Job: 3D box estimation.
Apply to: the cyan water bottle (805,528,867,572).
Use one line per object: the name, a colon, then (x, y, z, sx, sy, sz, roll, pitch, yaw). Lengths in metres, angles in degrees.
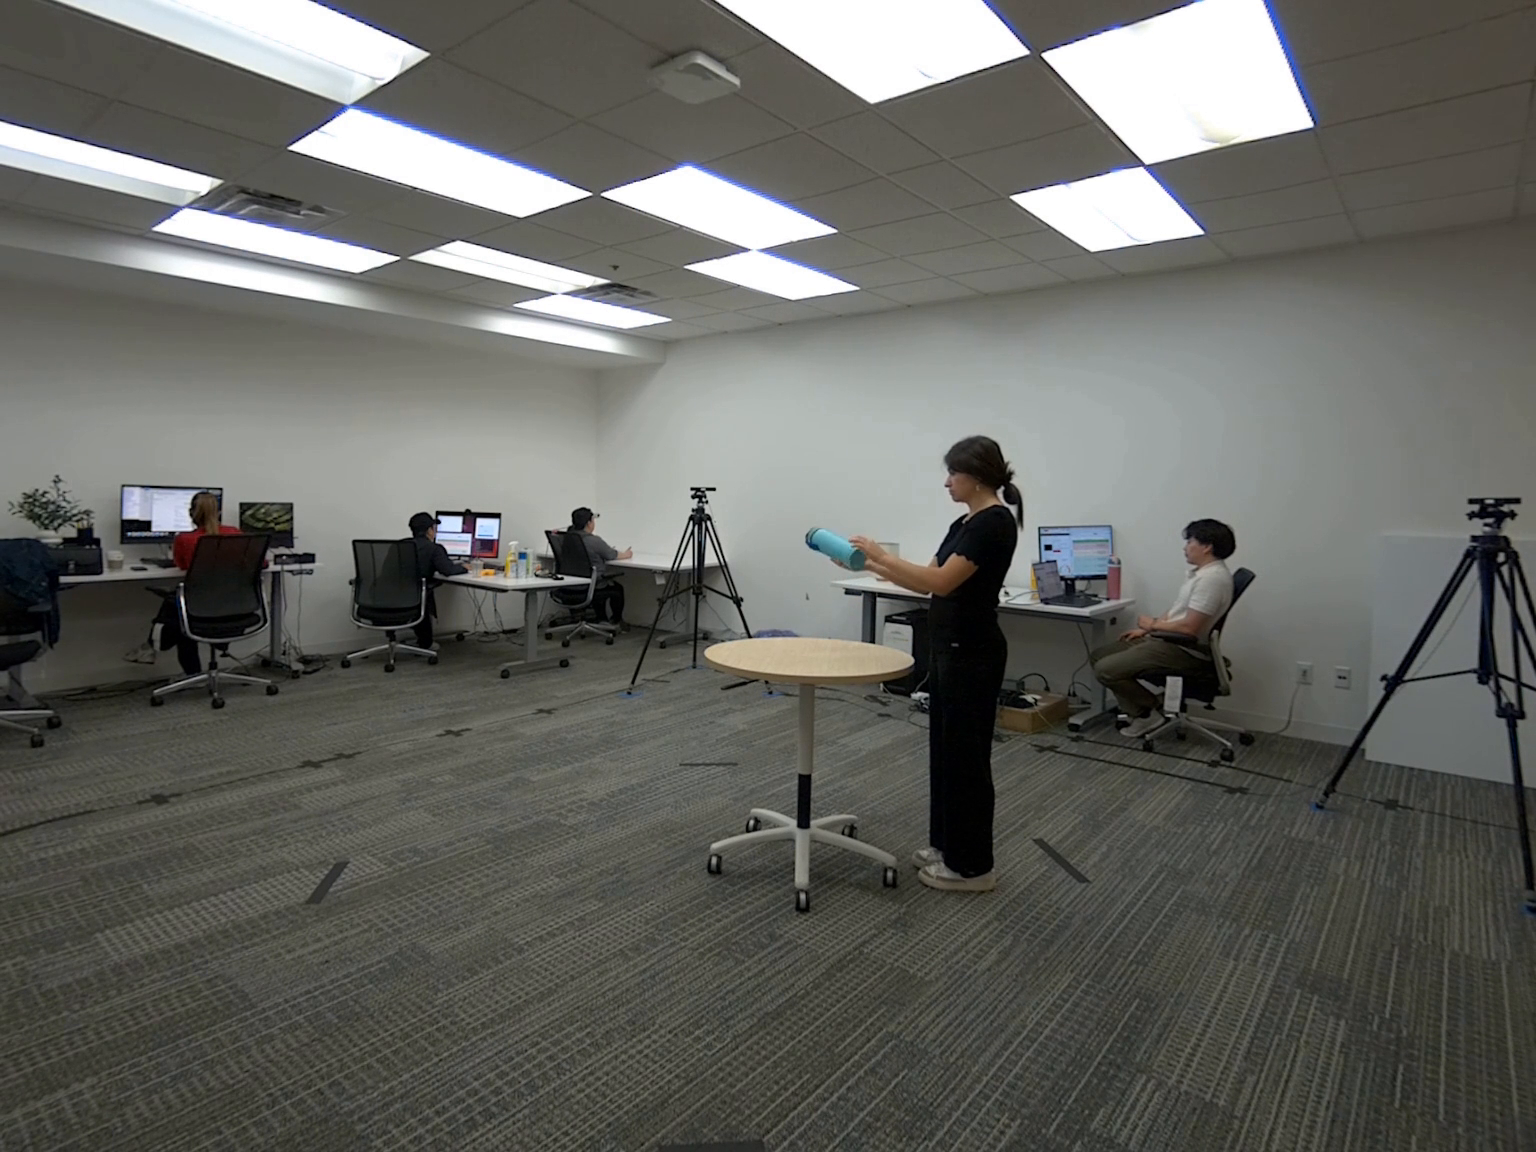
cyan water bottle: (0.237, -0.113, 3.226, 0.090, 0.091, 0.295, -2, 20, -32)
